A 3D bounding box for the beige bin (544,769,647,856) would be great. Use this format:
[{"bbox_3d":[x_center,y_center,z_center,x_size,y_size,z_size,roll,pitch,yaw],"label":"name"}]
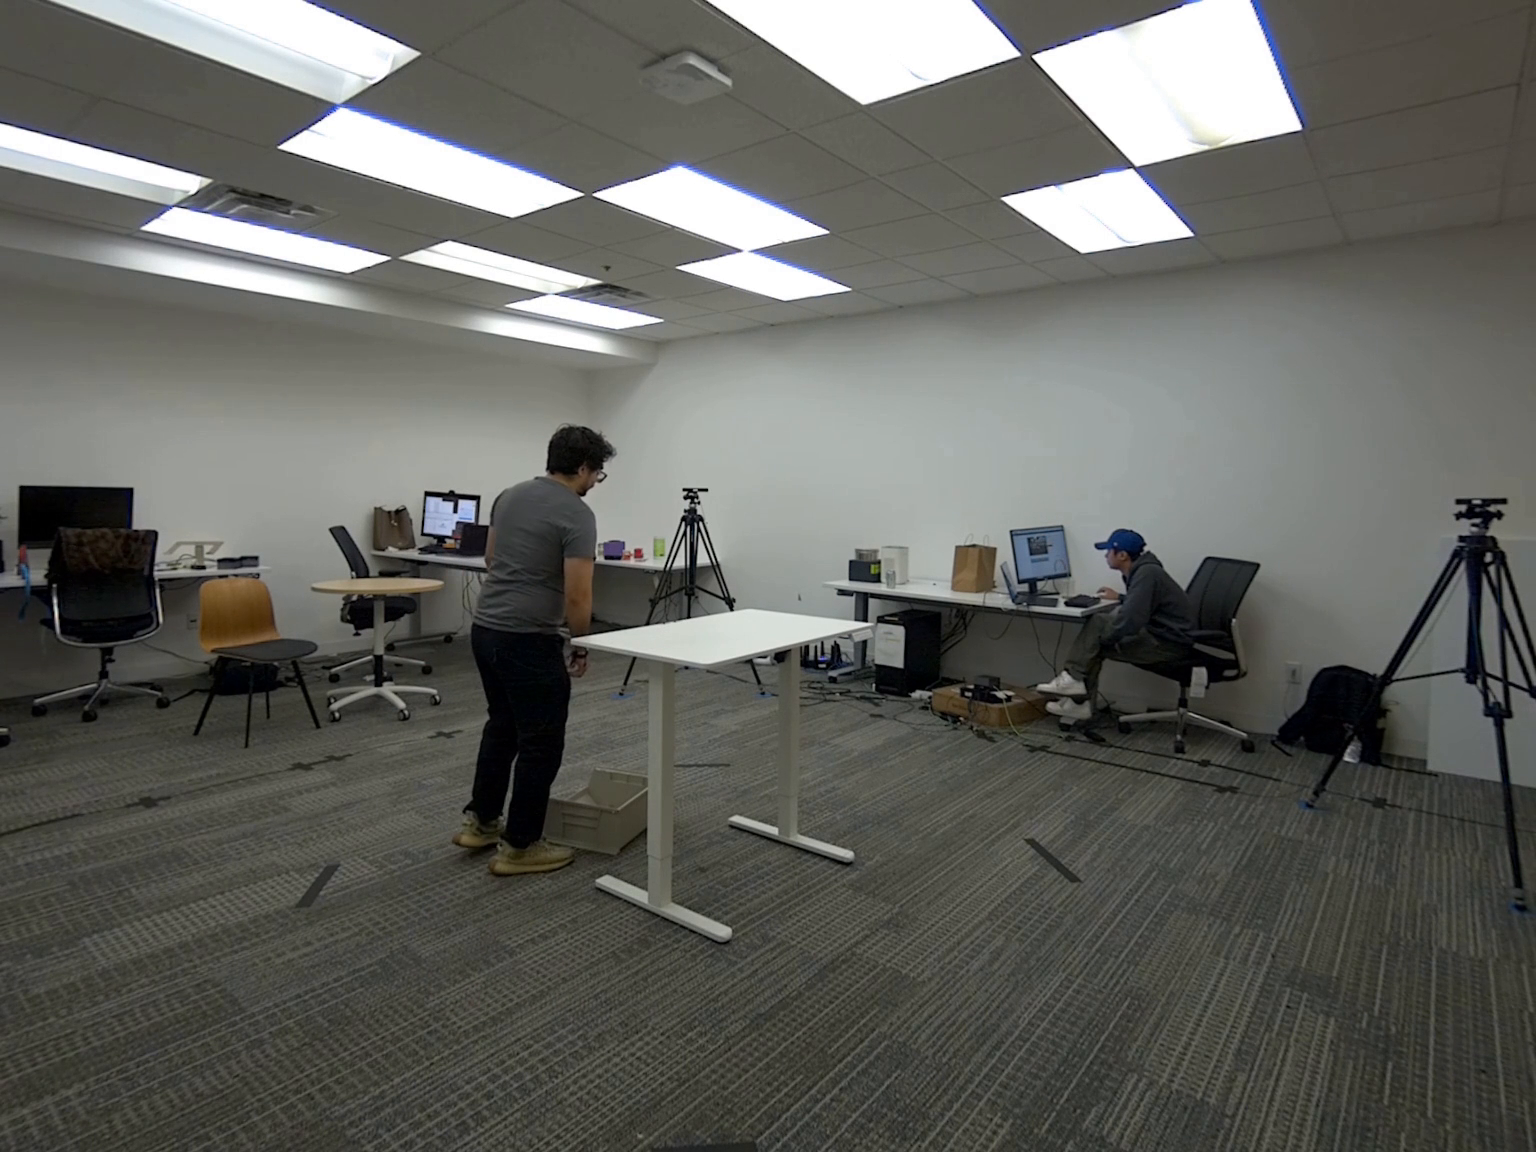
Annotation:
[{"bbox_3d":[-0.691,0.941,3.461,0.386,0.188,0.415,3,5,19],"label":"beige bin"}]
